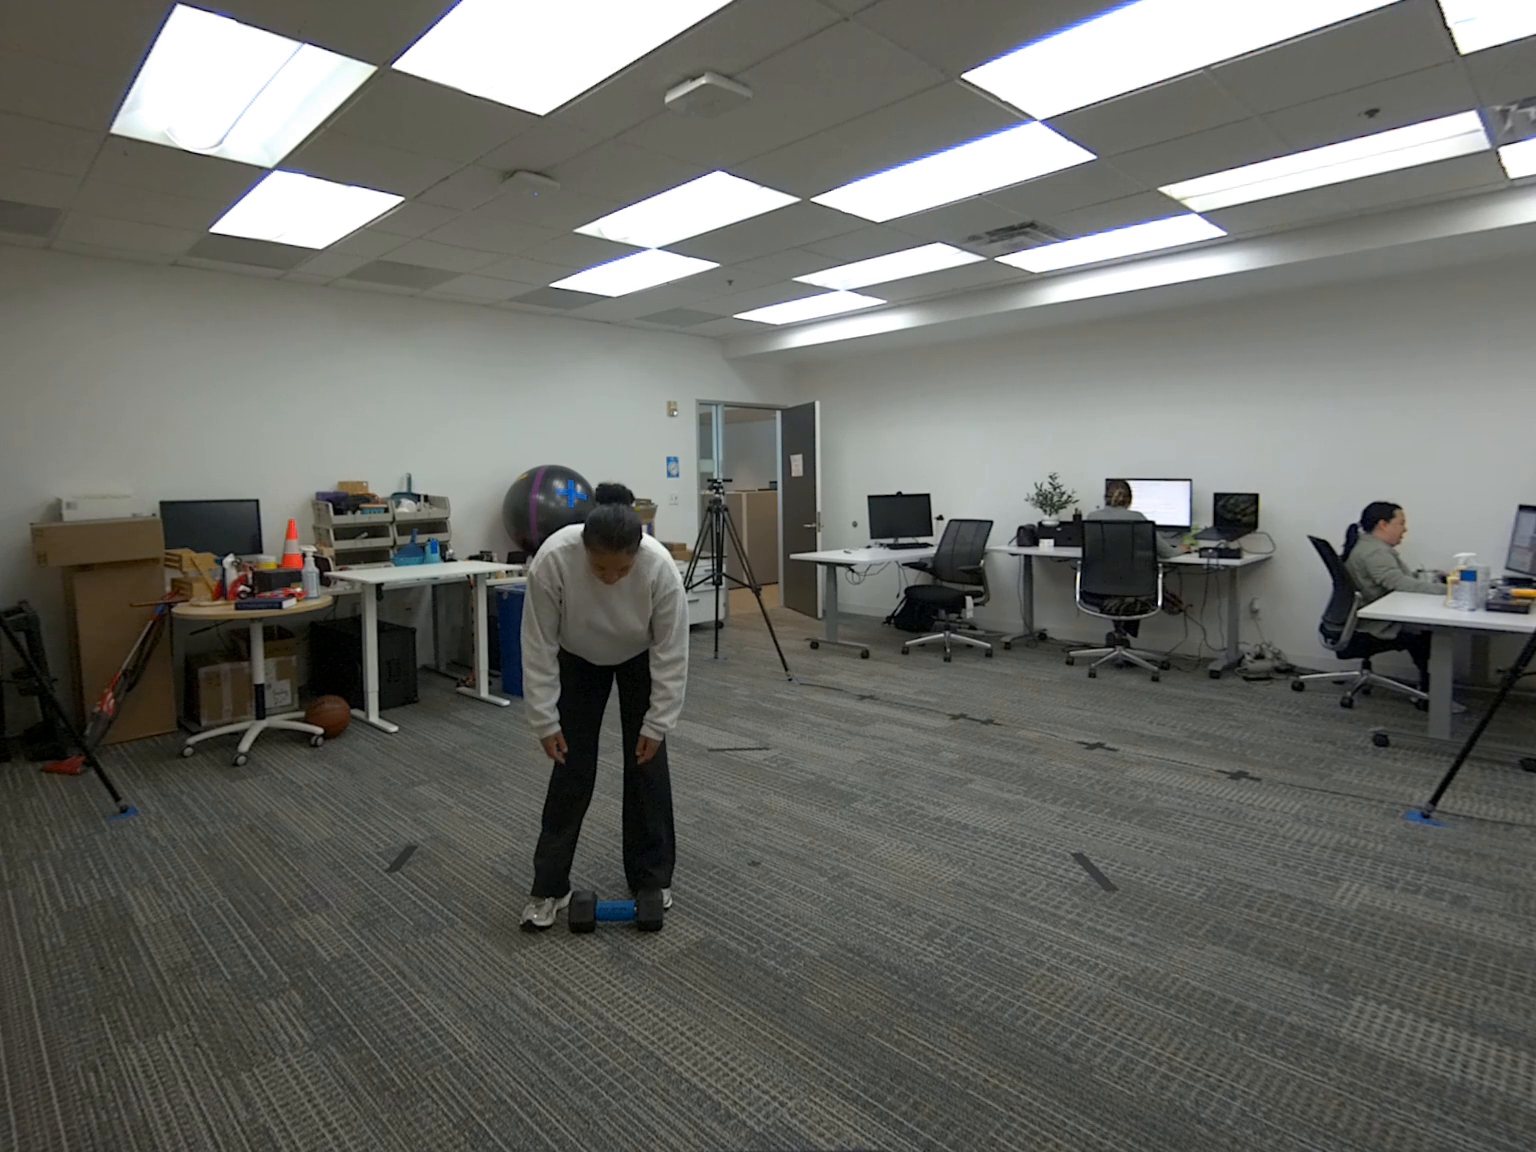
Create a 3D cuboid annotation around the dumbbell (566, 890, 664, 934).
[{"bbox_3d":[-0.476,1.056,2.675,0.293,0.125,0.106,-1,-25,-1],"label":"dumbbell"}]
